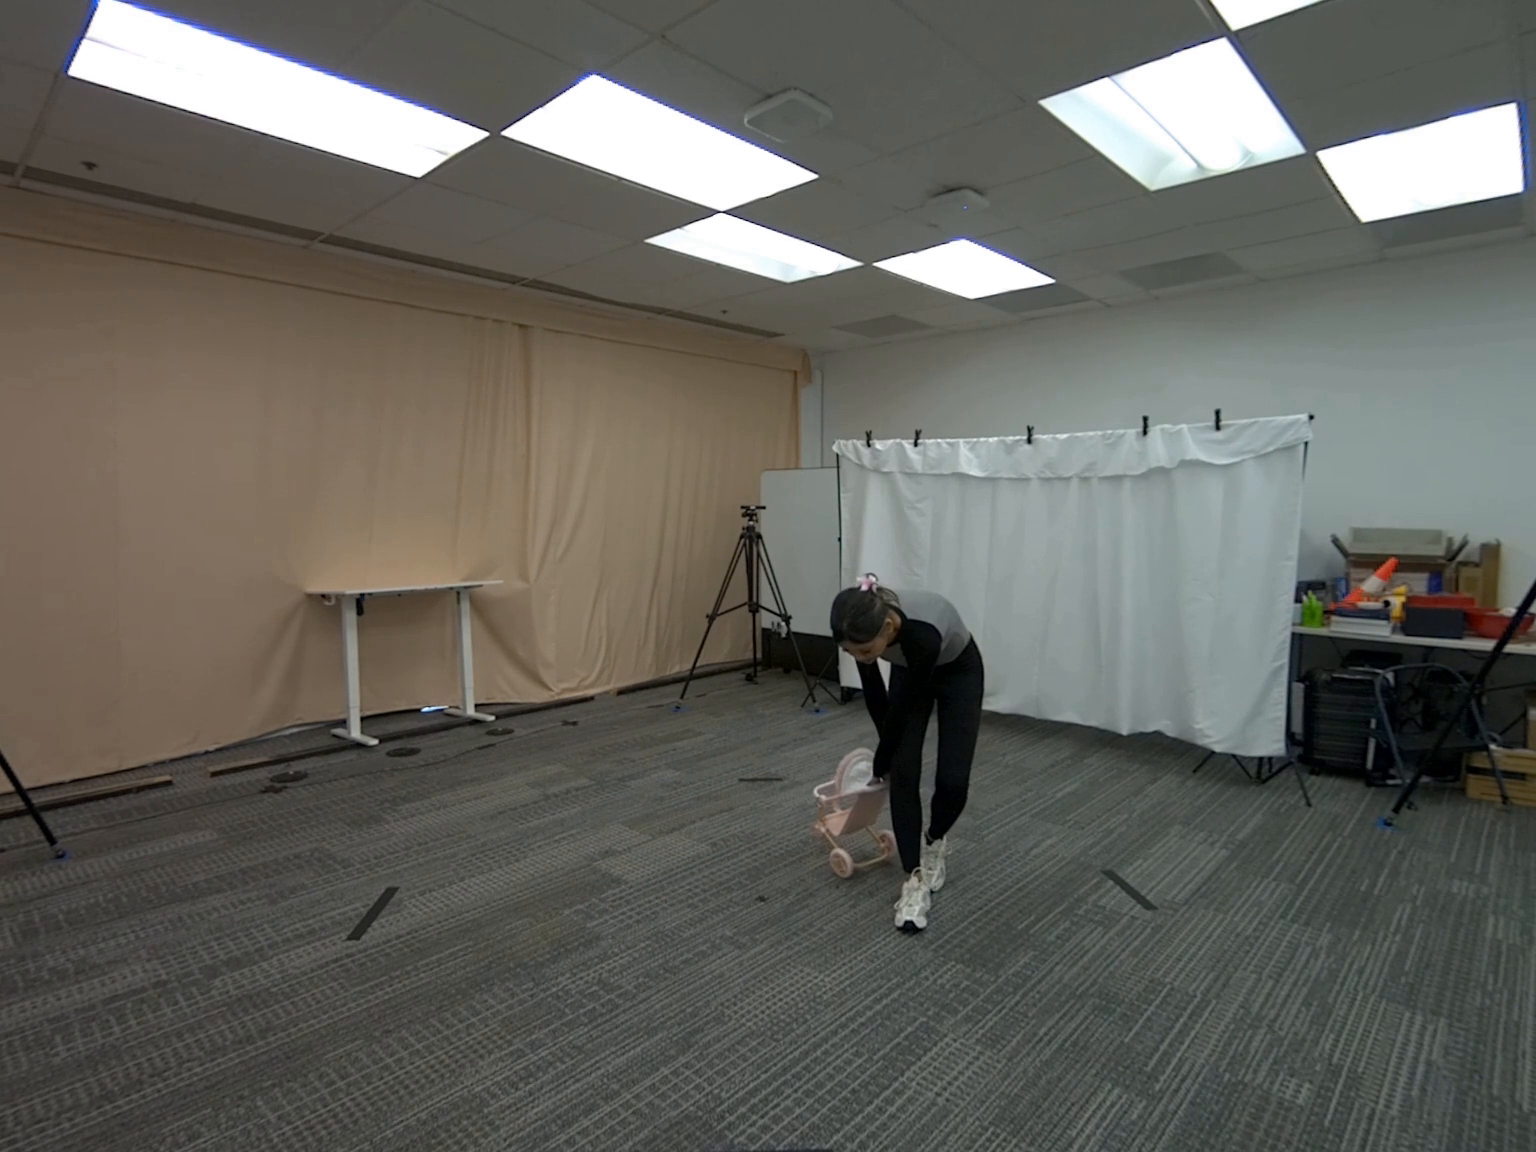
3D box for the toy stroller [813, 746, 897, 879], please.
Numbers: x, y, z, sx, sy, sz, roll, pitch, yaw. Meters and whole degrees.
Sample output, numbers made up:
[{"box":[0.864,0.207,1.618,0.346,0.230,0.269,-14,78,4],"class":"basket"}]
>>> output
[{"box":[0.334,0.885,3.243,0.274,0.529,0.354,-6,28,-31],"class":"toy stroller"}]
